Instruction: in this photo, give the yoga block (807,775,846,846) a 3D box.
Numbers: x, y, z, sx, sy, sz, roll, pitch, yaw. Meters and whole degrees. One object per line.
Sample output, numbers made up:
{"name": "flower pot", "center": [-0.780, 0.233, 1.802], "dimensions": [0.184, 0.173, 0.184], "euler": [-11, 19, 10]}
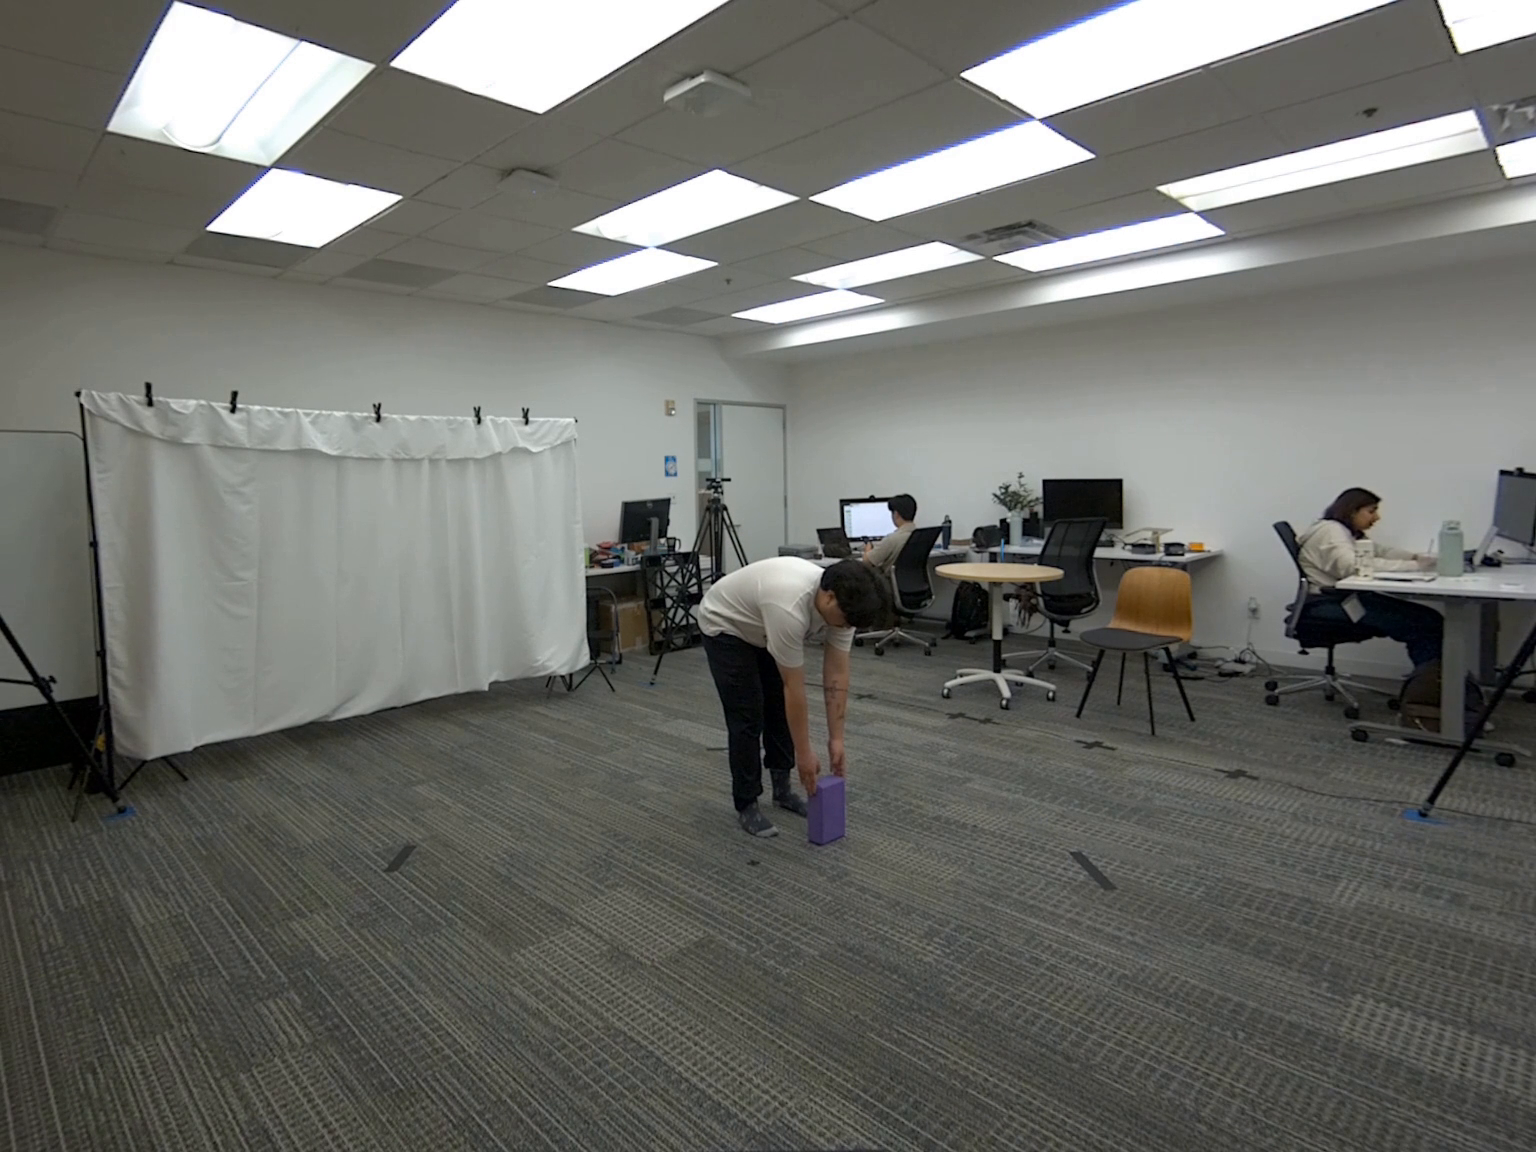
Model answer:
{"name": "yoga block", "center": [0.230, 0.904, 3.304], "dimensions": [0.145, 0.229, 0.079], "euler": [-3, 2, -44]}
